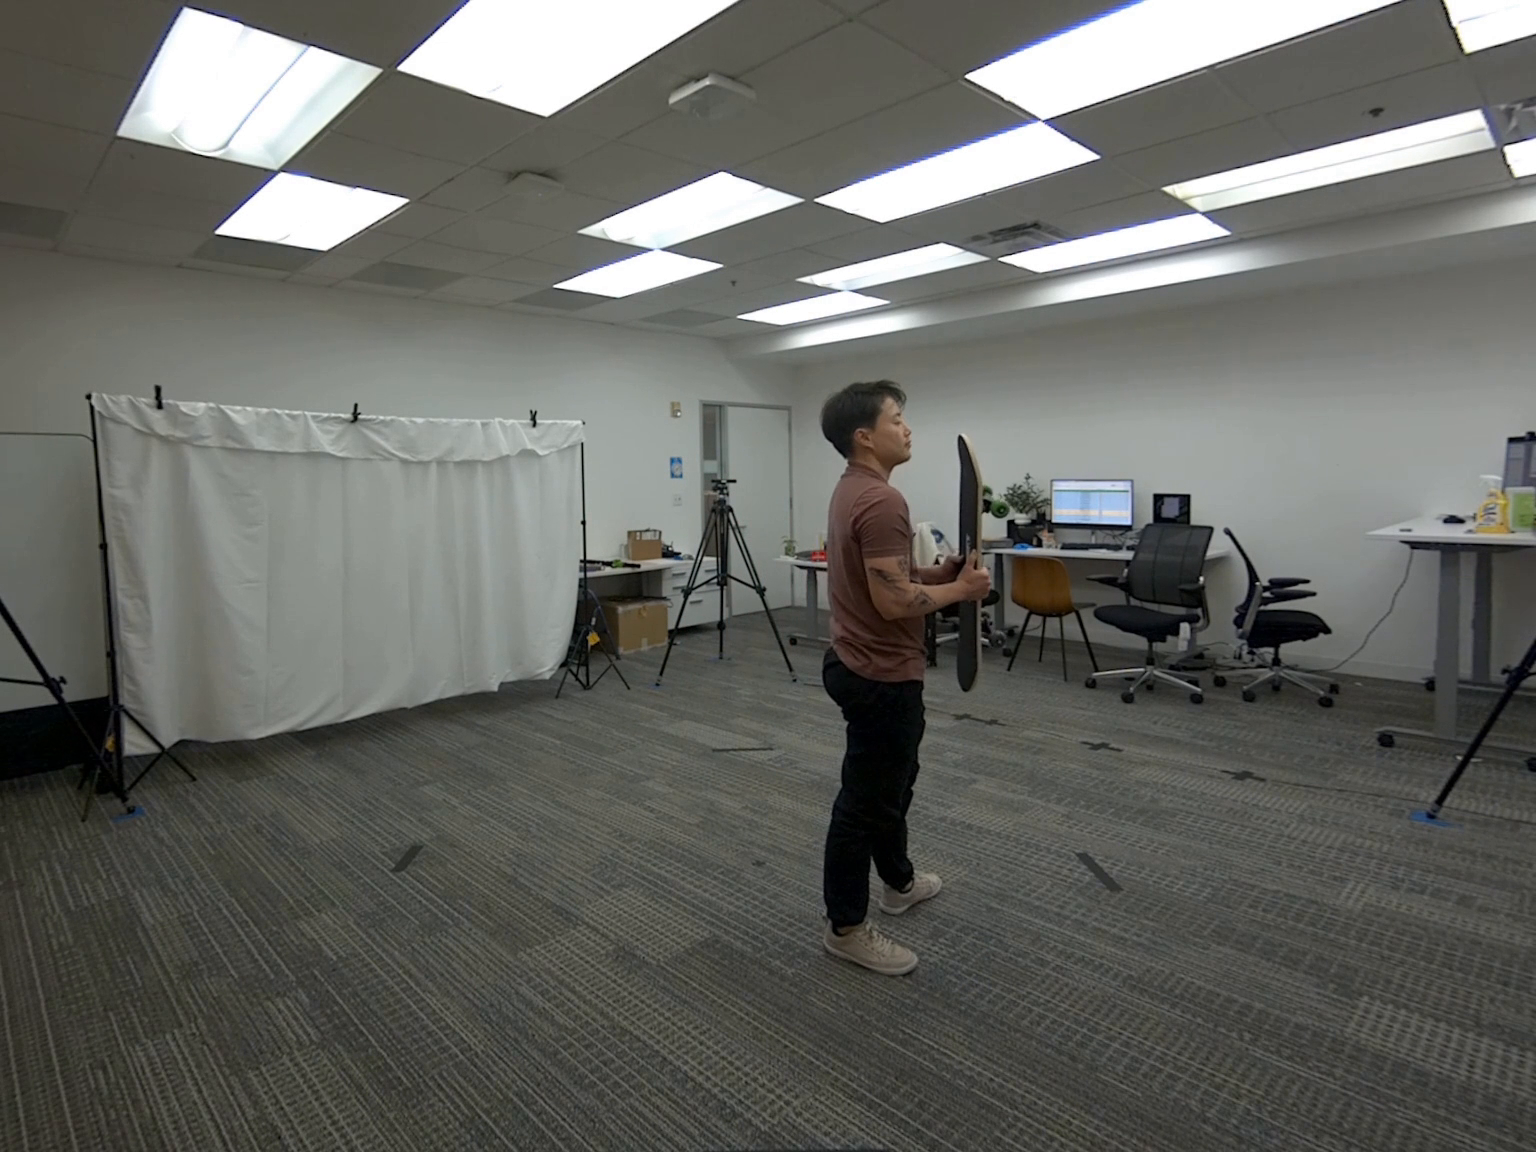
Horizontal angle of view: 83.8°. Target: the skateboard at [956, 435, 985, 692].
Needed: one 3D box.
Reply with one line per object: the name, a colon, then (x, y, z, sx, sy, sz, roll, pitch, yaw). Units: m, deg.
skateboard: (0.615, -0.025, 2.465, 0.110, 0.771, 0.197, -4, 19, -1)
